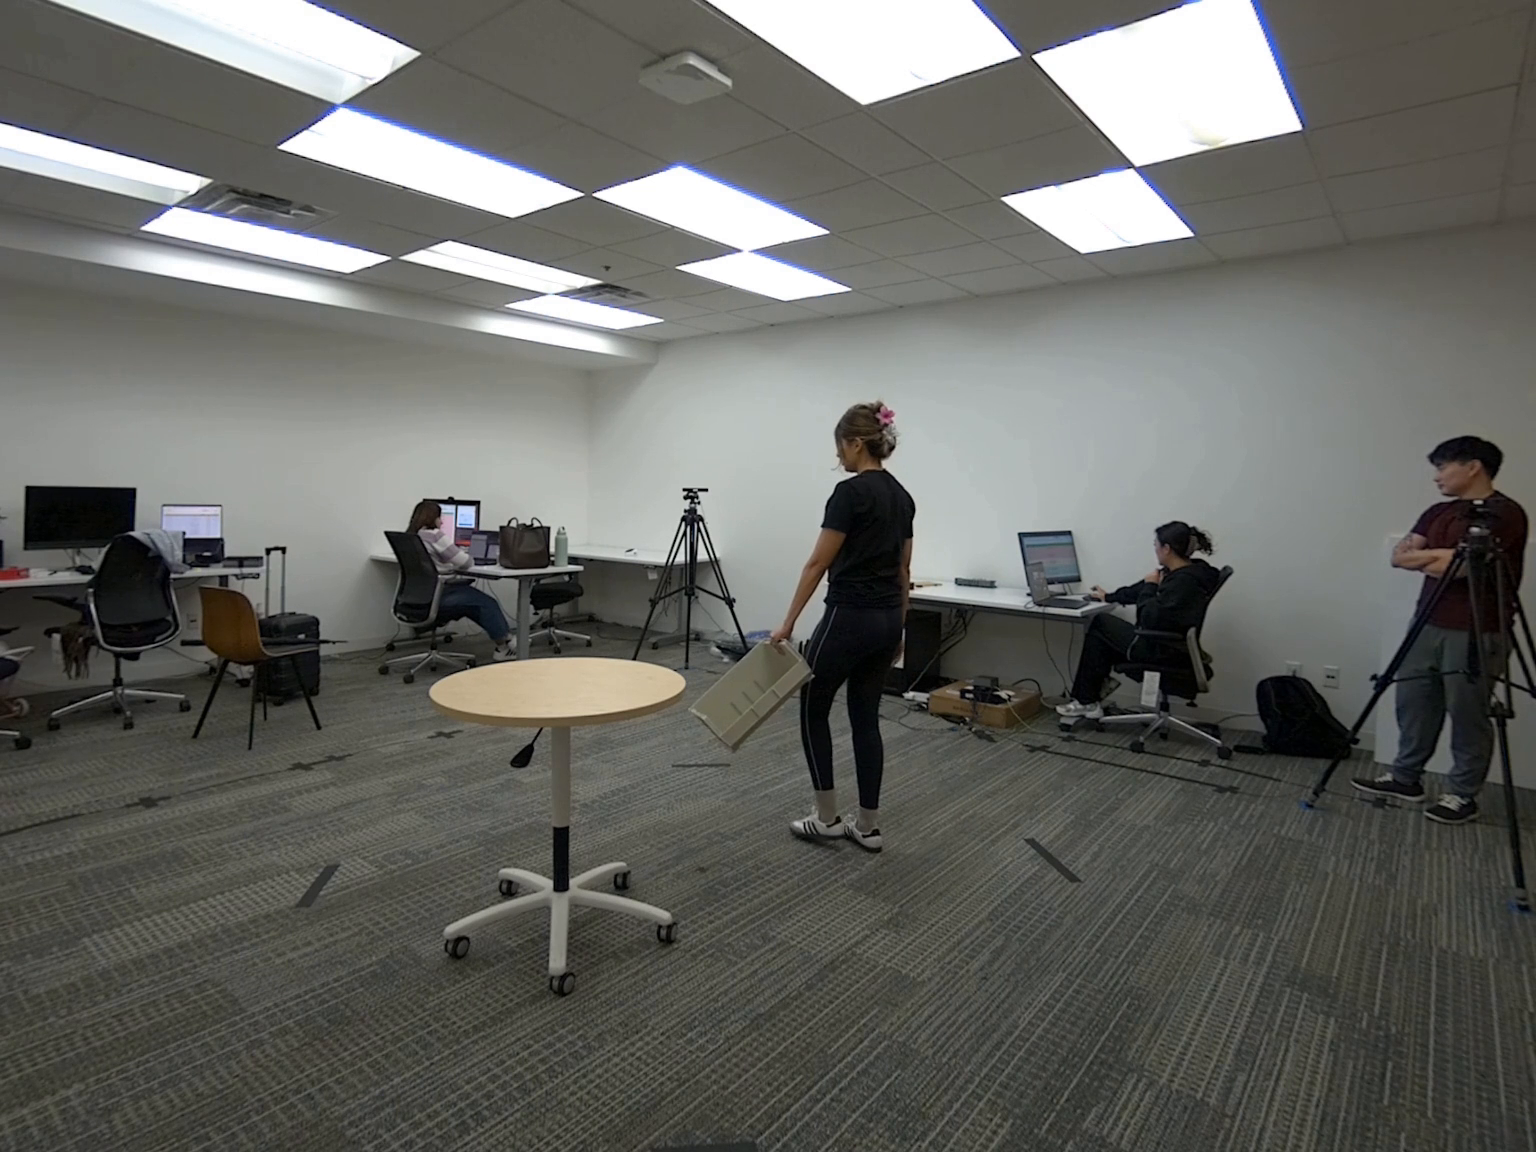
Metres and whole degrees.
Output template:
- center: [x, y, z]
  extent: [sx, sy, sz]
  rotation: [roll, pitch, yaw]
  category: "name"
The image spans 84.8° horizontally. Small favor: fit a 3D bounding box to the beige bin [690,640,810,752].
- center: [-0.073, 0.445, 3.242]
  extent: [0.421, 0.188, 0.379]
  rotation: [-43, 4, -12]
  category: "beige bin"
